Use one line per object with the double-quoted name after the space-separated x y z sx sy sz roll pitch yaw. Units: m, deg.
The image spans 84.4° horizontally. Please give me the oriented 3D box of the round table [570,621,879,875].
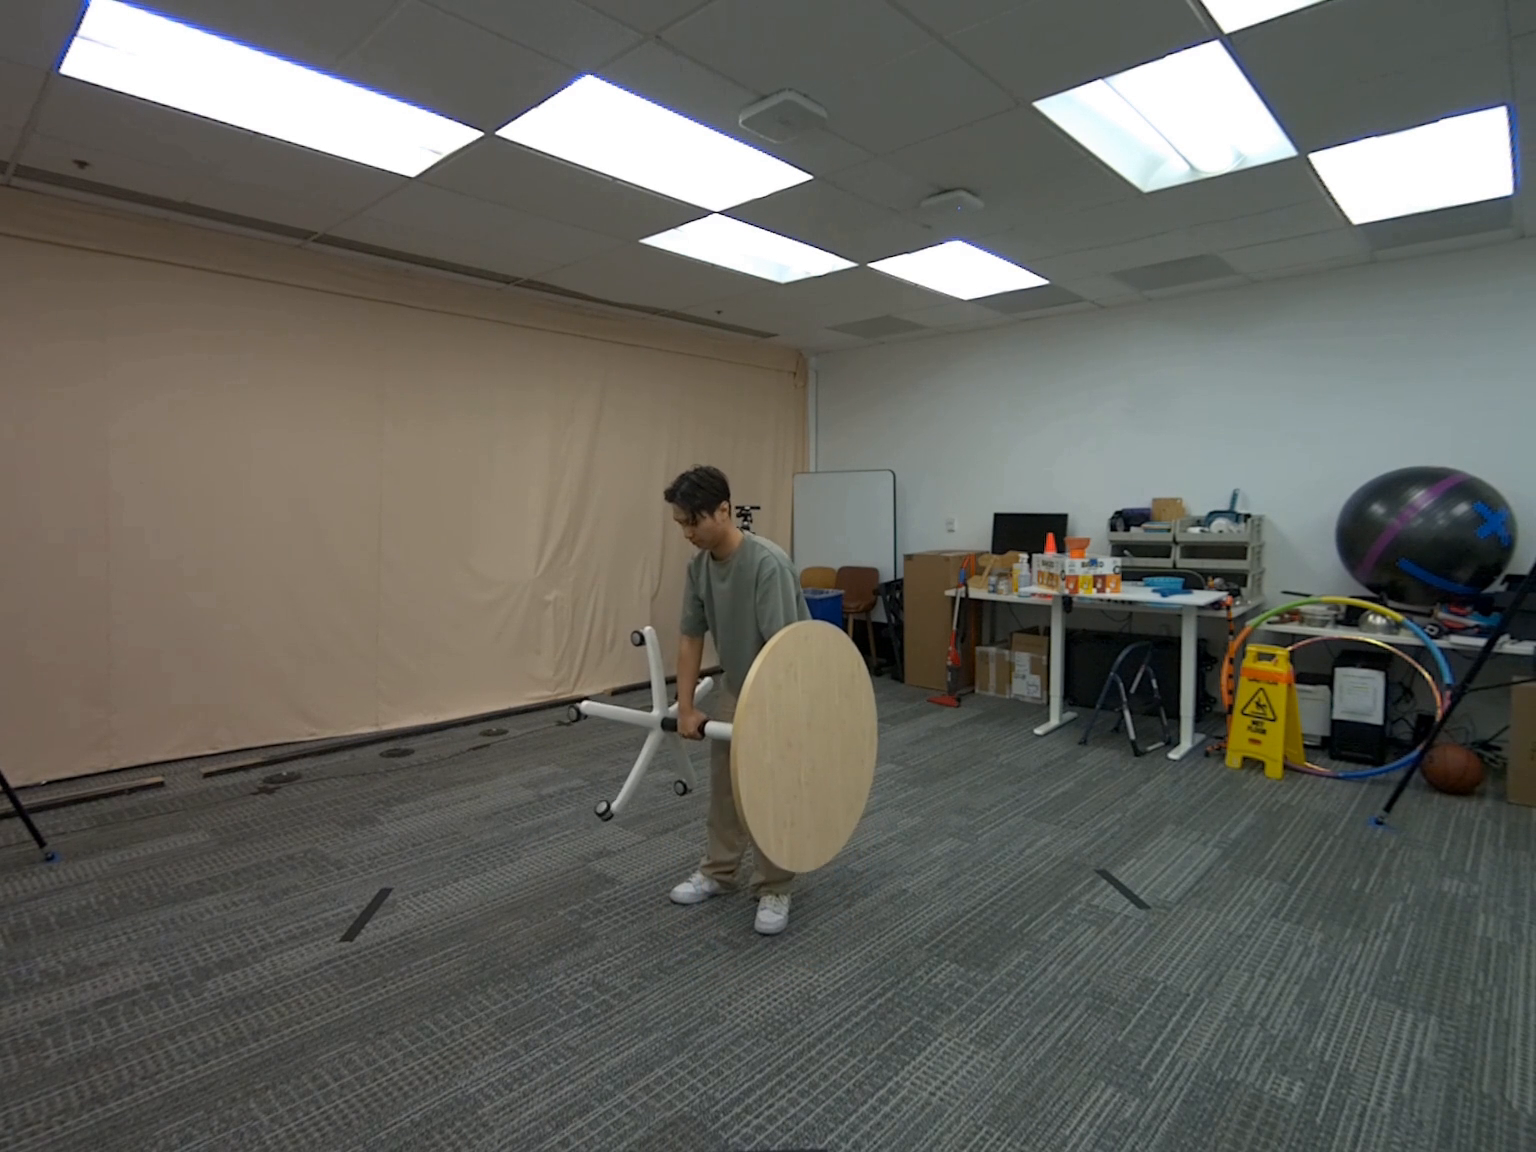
-0.171 0.539 2.878 0.810 0.785 0.761 -3 1 39 "round table"
